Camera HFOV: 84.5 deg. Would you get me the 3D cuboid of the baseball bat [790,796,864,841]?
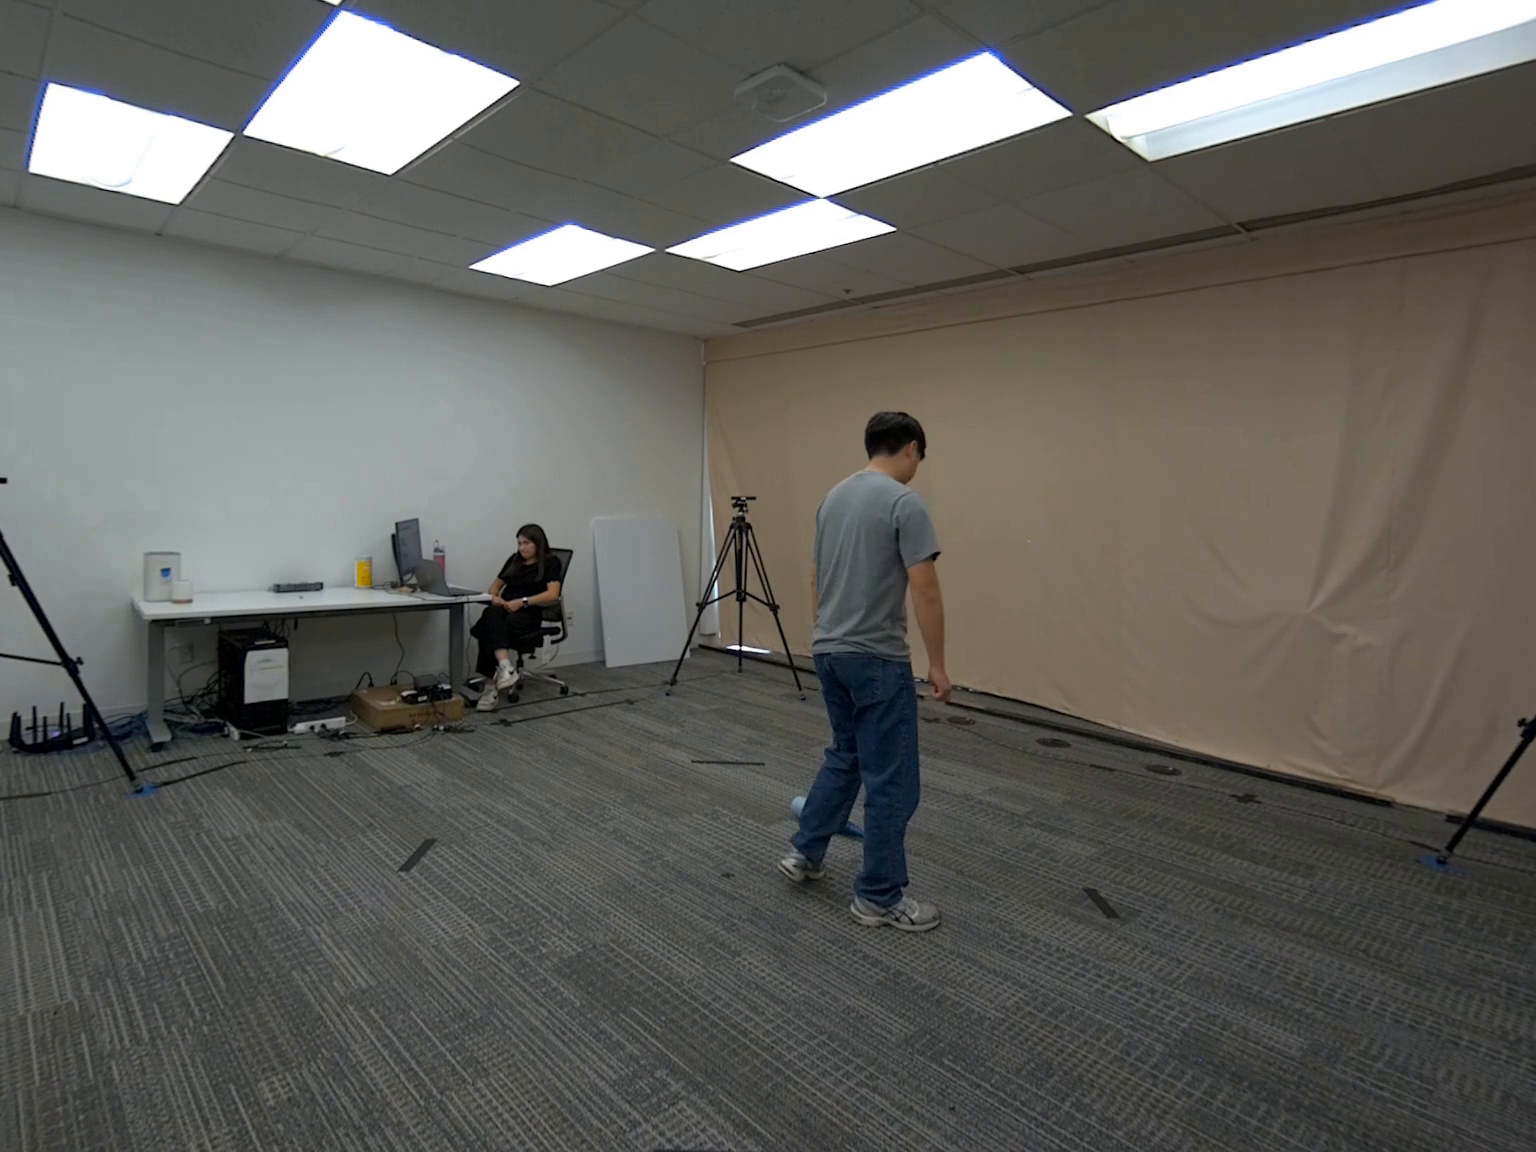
[{"bbox_3d":[0.314,1.050,3.515,0.087,0.088,0.558,-3,10,-44],"label":"baseball bat"}]
